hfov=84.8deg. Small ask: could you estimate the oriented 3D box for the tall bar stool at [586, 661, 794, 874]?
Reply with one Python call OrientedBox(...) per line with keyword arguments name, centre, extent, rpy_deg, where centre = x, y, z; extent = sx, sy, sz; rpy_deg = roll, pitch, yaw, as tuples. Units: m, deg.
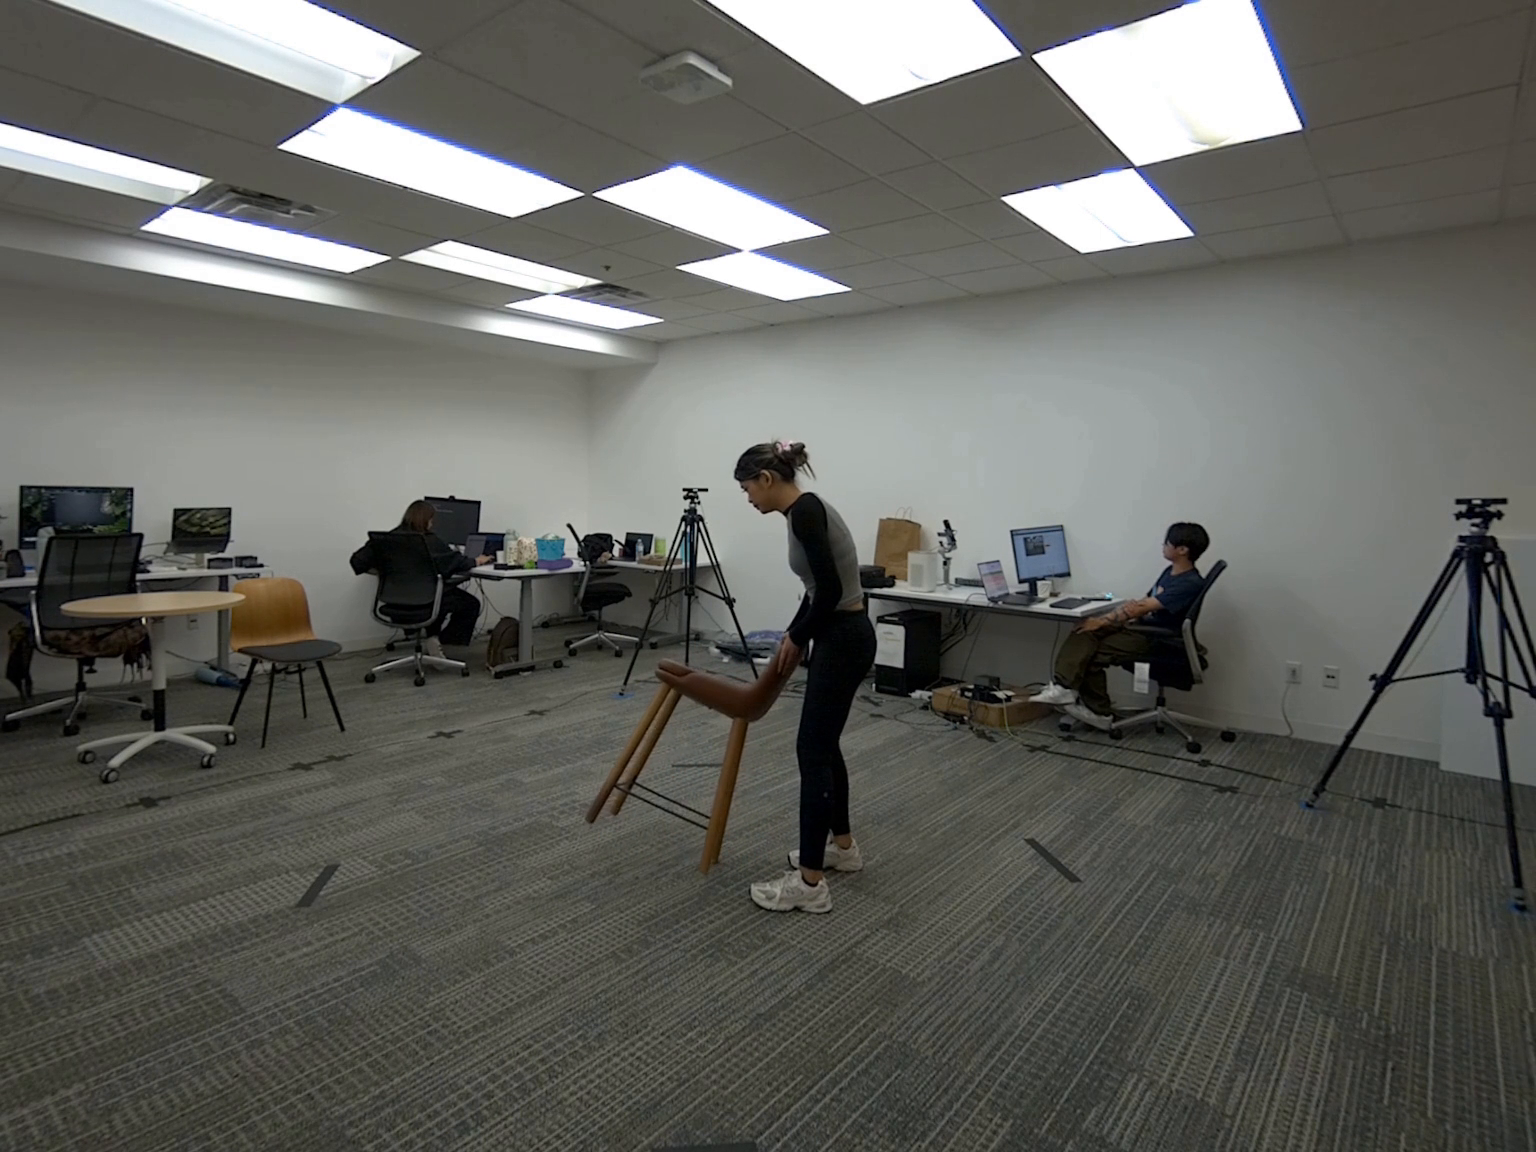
OrientedBox(name="tall bar stool", centre=(-0.257, 0.562, 3.125), extent=(0.475, 0.894, 0.447), rpy_deg=(22, -11, 10))
